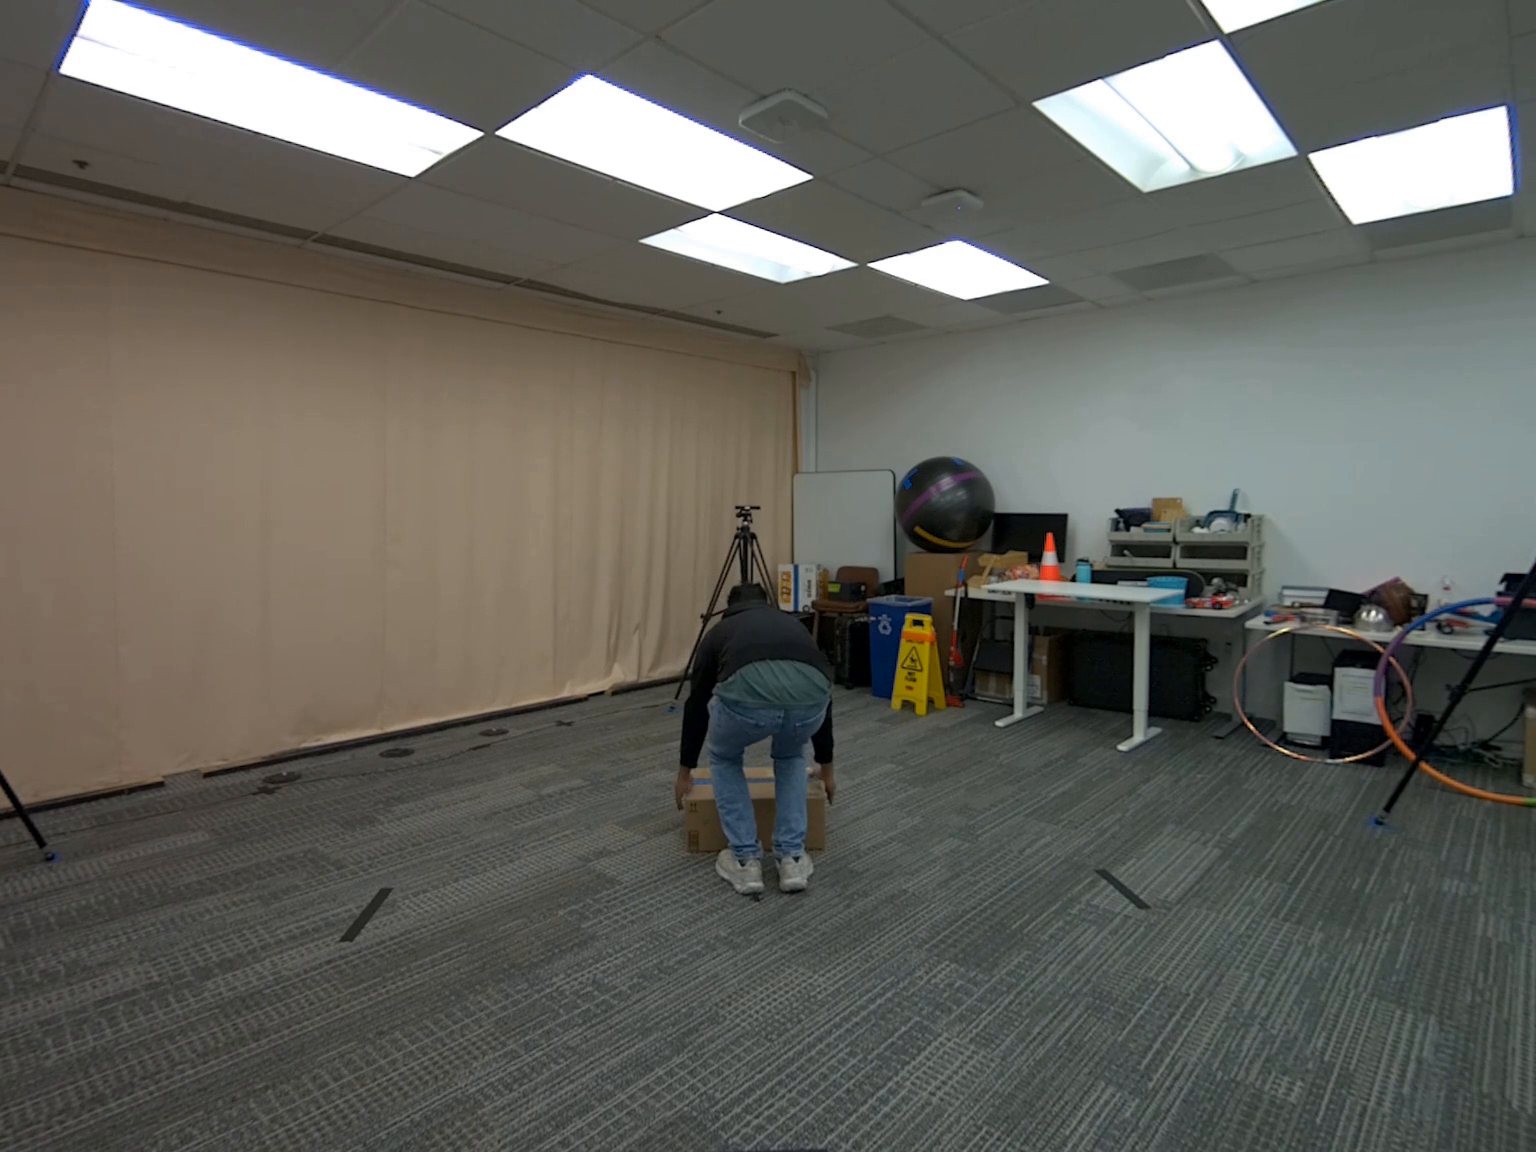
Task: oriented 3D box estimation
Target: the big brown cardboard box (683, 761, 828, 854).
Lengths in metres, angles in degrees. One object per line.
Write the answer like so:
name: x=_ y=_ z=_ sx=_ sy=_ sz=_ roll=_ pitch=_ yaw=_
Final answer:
big brown cardboard box: x=-0.060 y=0.982 z=3.600 sx=0.587 sy=0.232 sz=0.420 roll=-1 pitch=5 yaw=-3
